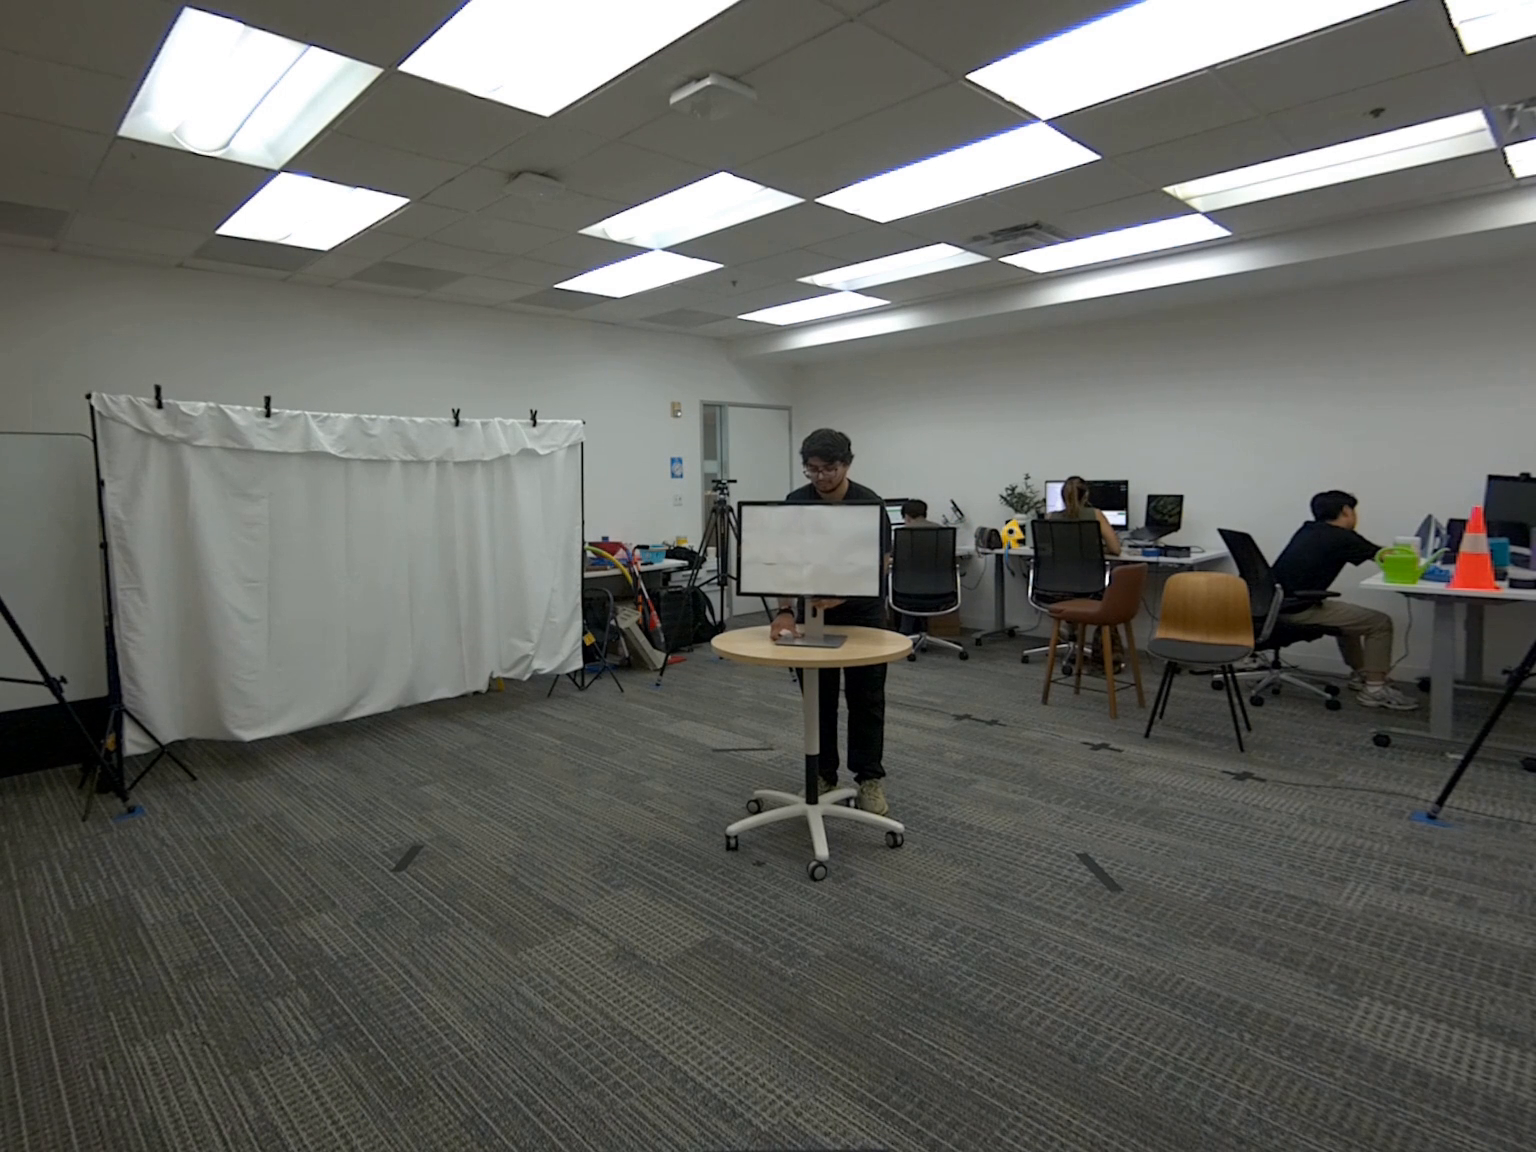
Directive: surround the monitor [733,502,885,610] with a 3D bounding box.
[{"bbox_3d":[0.169,-0.013,3.242,0.576,0.553,0.207,1,3,19],"label":"monitor"}]
